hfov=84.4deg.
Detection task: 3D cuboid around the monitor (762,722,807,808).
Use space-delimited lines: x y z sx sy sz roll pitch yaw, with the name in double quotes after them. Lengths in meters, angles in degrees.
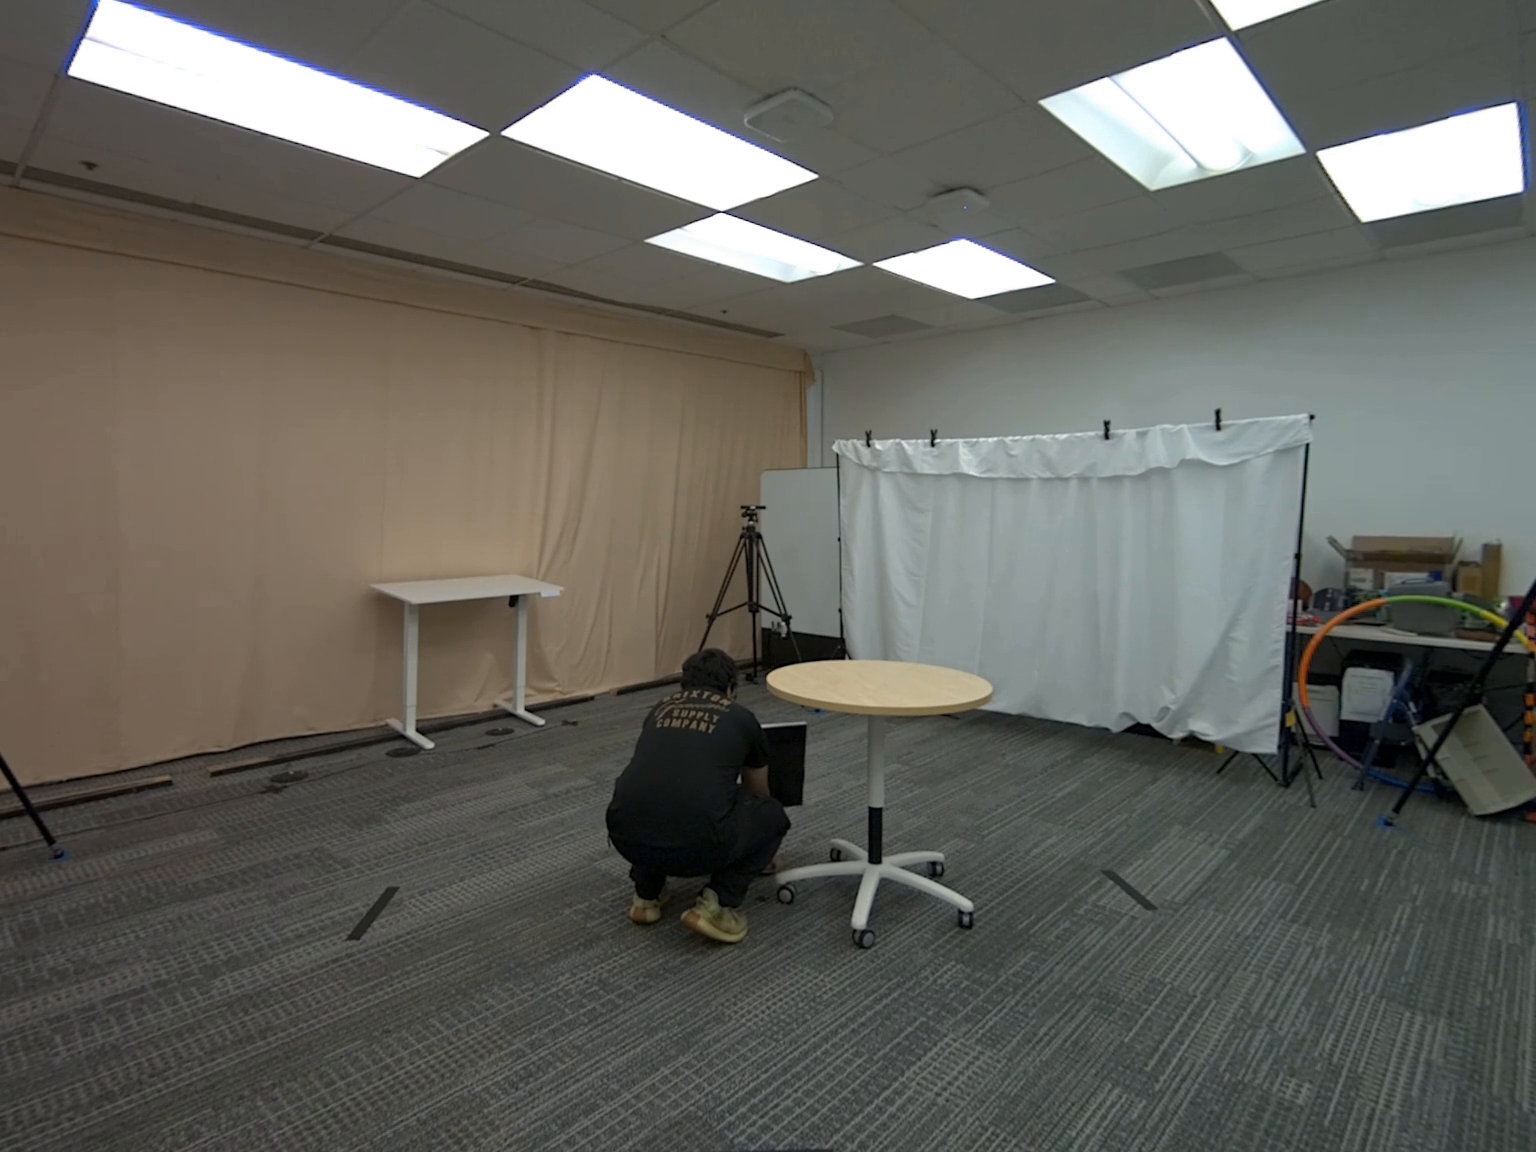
-0.108 0.850 3.215 0.558 0.551 0.214 -1 9 -13 "monitor"
